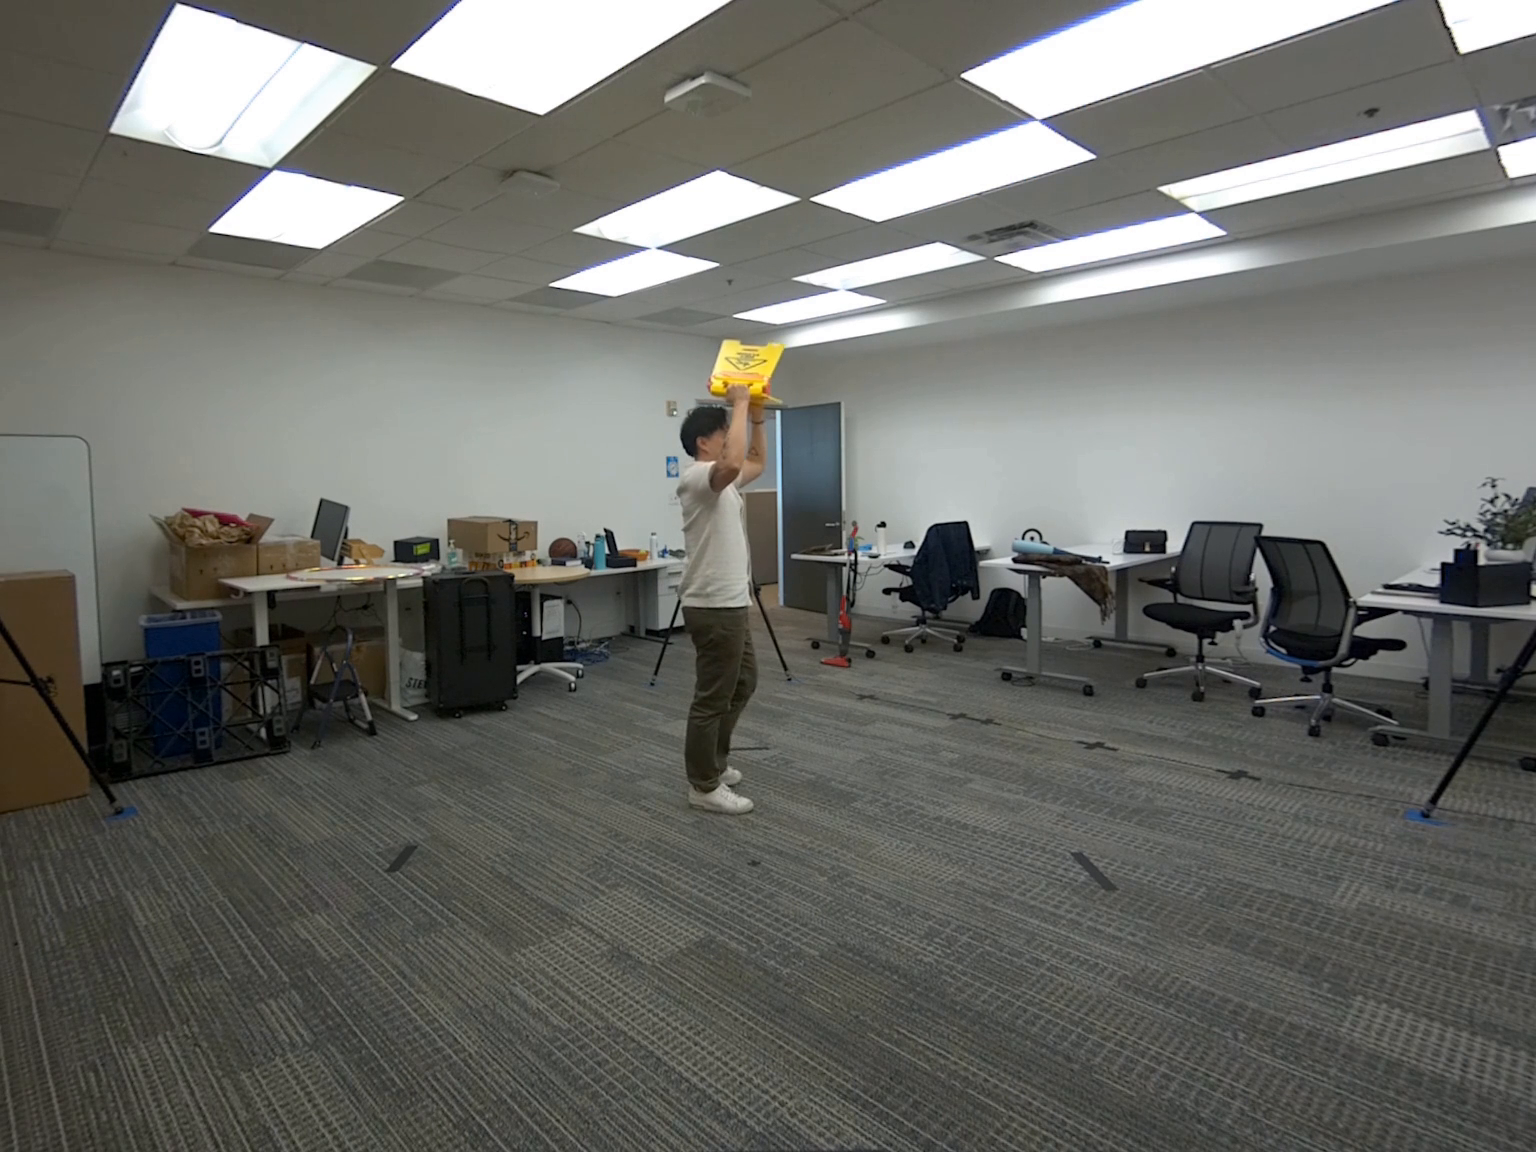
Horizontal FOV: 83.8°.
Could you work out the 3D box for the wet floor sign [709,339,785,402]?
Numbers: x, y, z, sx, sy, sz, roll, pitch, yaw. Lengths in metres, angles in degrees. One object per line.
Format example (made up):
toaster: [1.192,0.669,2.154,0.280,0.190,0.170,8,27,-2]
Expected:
wet floor sign: [-0.099,-0.809,3.580,0.284,0.285,0.652,4,20,5]
